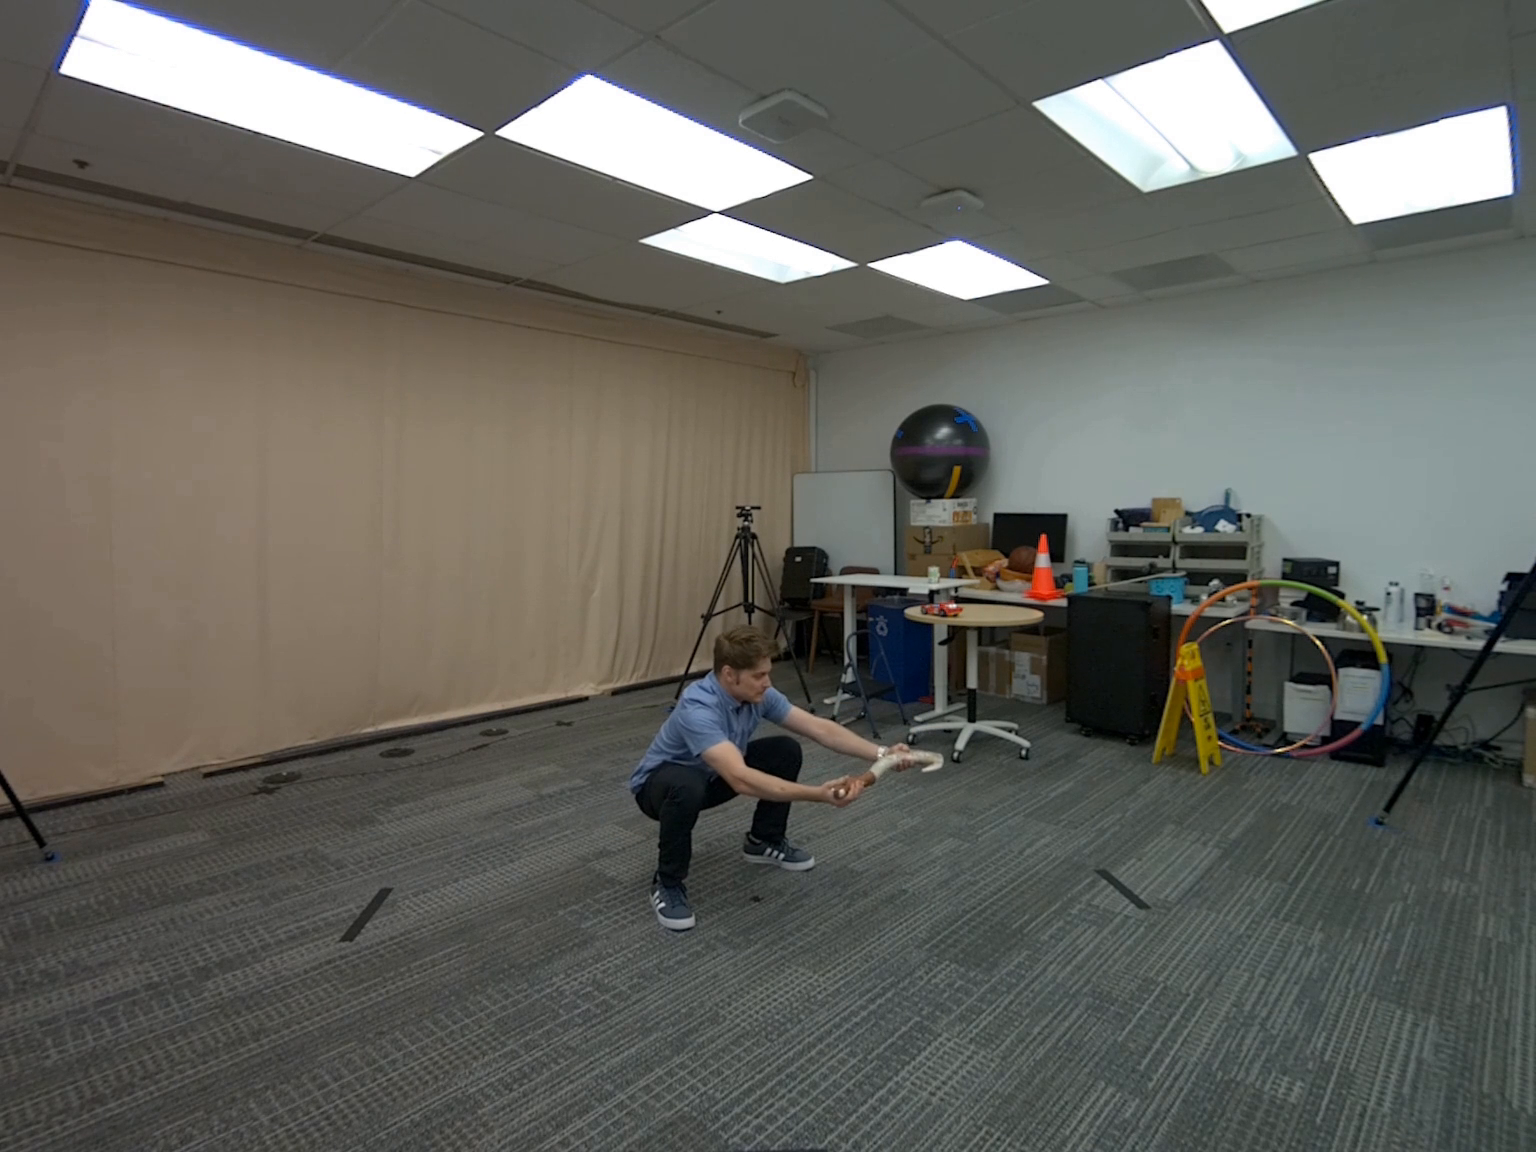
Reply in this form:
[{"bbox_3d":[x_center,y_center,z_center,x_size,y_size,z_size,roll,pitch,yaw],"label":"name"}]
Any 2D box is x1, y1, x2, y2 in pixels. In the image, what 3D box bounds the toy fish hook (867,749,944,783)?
[{"bbox_3d":[0.402,0.640,2.714,0.231,0.048,0.492,-10,0,39],"label":"toy fish hook"}]
